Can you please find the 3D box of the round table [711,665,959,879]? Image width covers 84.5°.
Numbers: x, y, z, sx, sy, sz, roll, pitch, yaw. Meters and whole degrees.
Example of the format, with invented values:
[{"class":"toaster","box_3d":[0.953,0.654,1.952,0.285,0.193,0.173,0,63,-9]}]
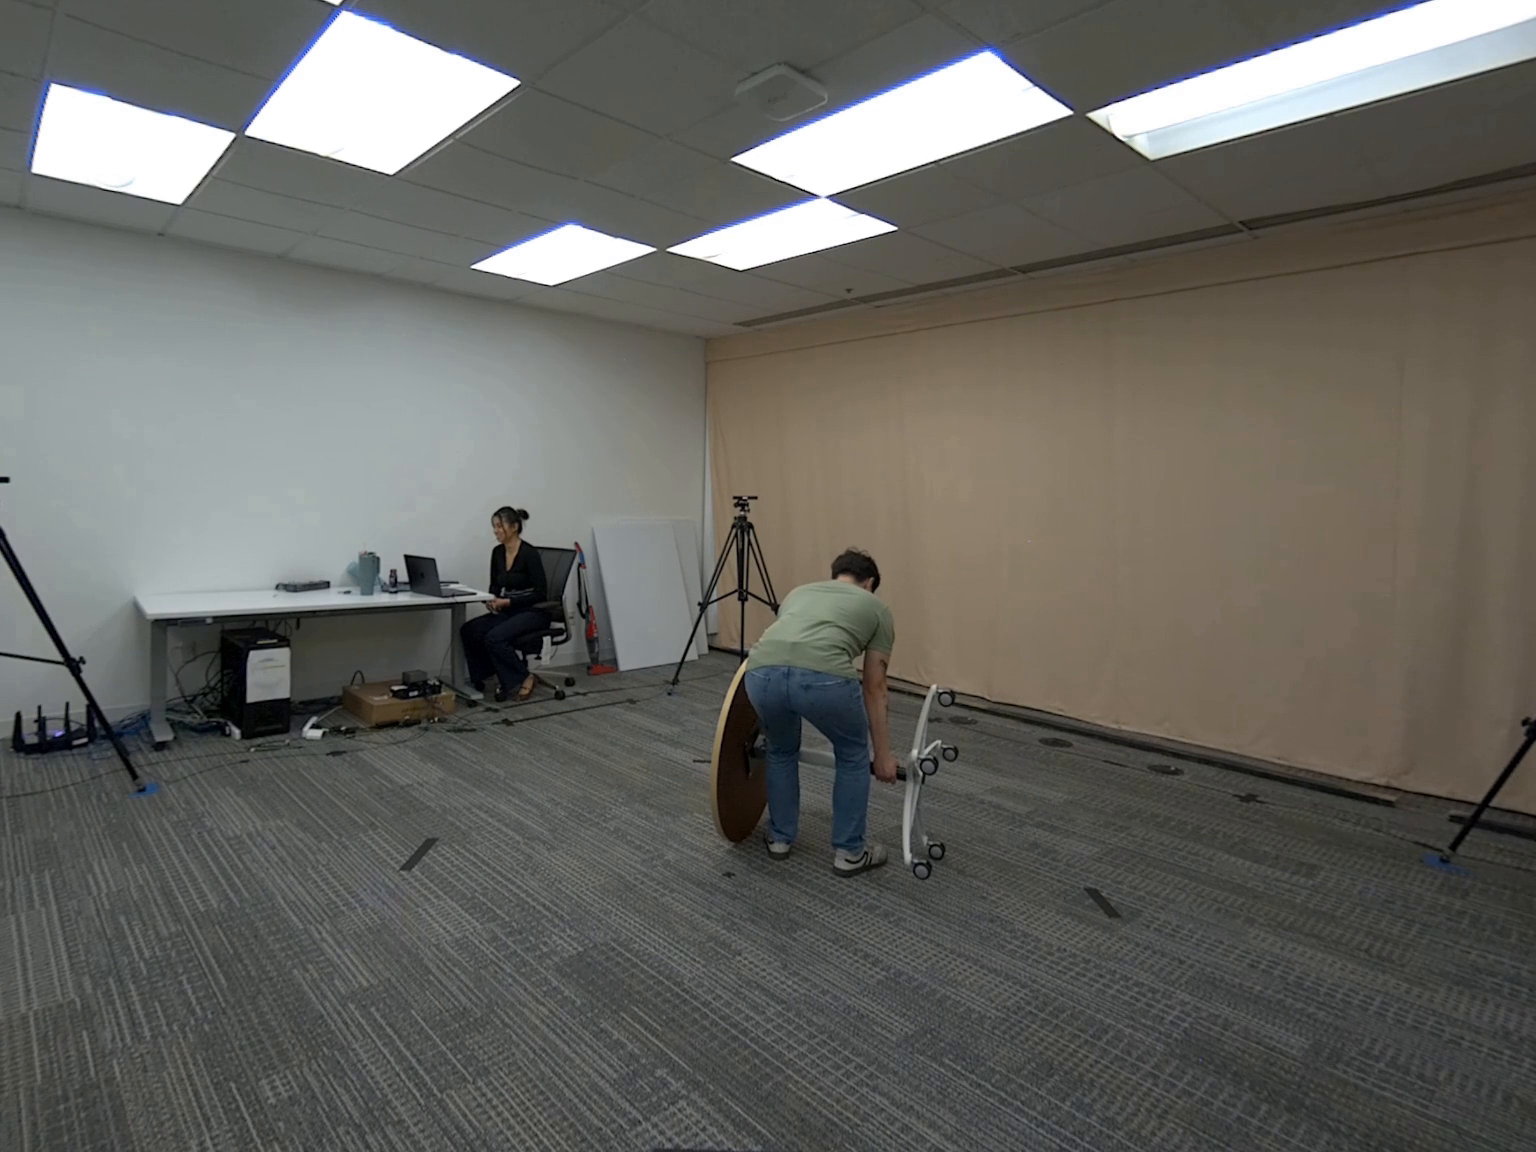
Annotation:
[{"class":"round table","box_3d":[0.289,0.734,3.299,0.808,0.761,0.753,7,6,21]}]
